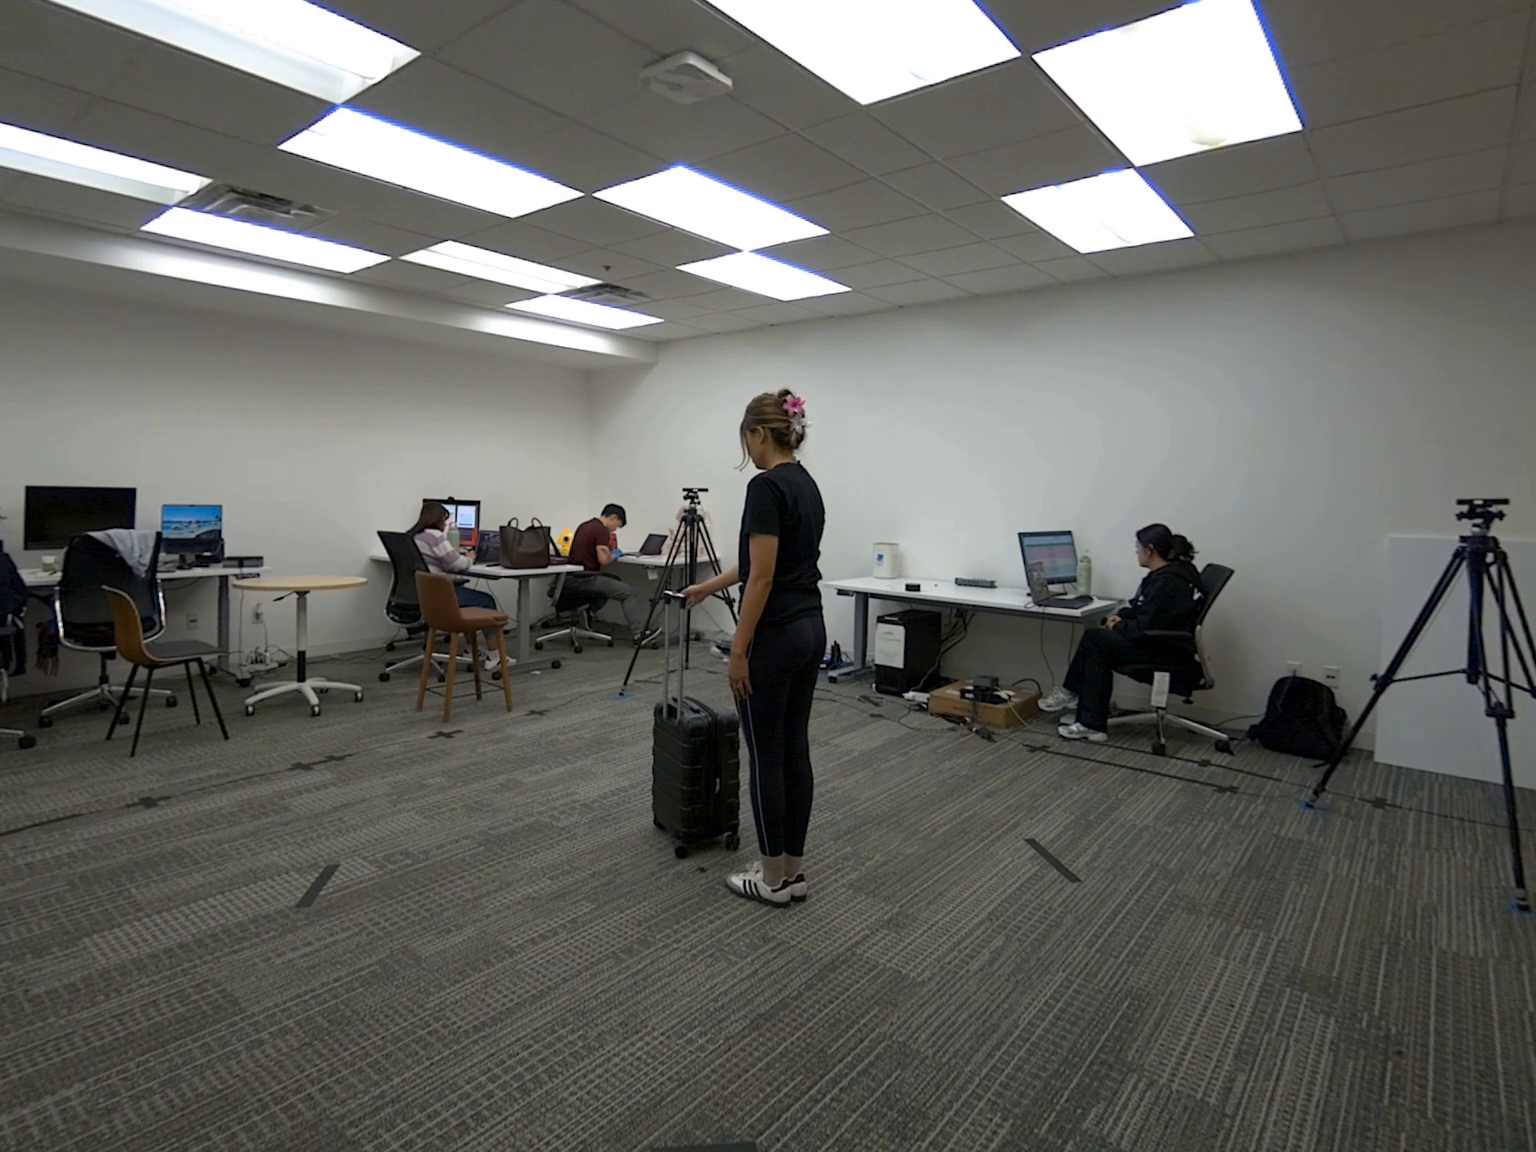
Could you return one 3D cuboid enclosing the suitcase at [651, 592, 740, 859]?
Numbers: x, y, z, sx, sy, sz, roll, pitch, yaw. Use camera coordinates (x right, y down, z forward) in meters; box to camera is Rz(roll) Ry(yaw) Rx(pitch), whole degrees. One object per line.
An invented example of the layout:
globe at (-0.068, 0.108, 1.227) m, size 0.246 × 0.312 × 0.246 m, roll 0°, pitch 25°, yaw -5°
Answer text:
suitcase at (-0.298, 0.571, 3.378) m, size 0.251 × 0.976 × 0.394 m, roll 1°, pitch 3°, yaw -25°
